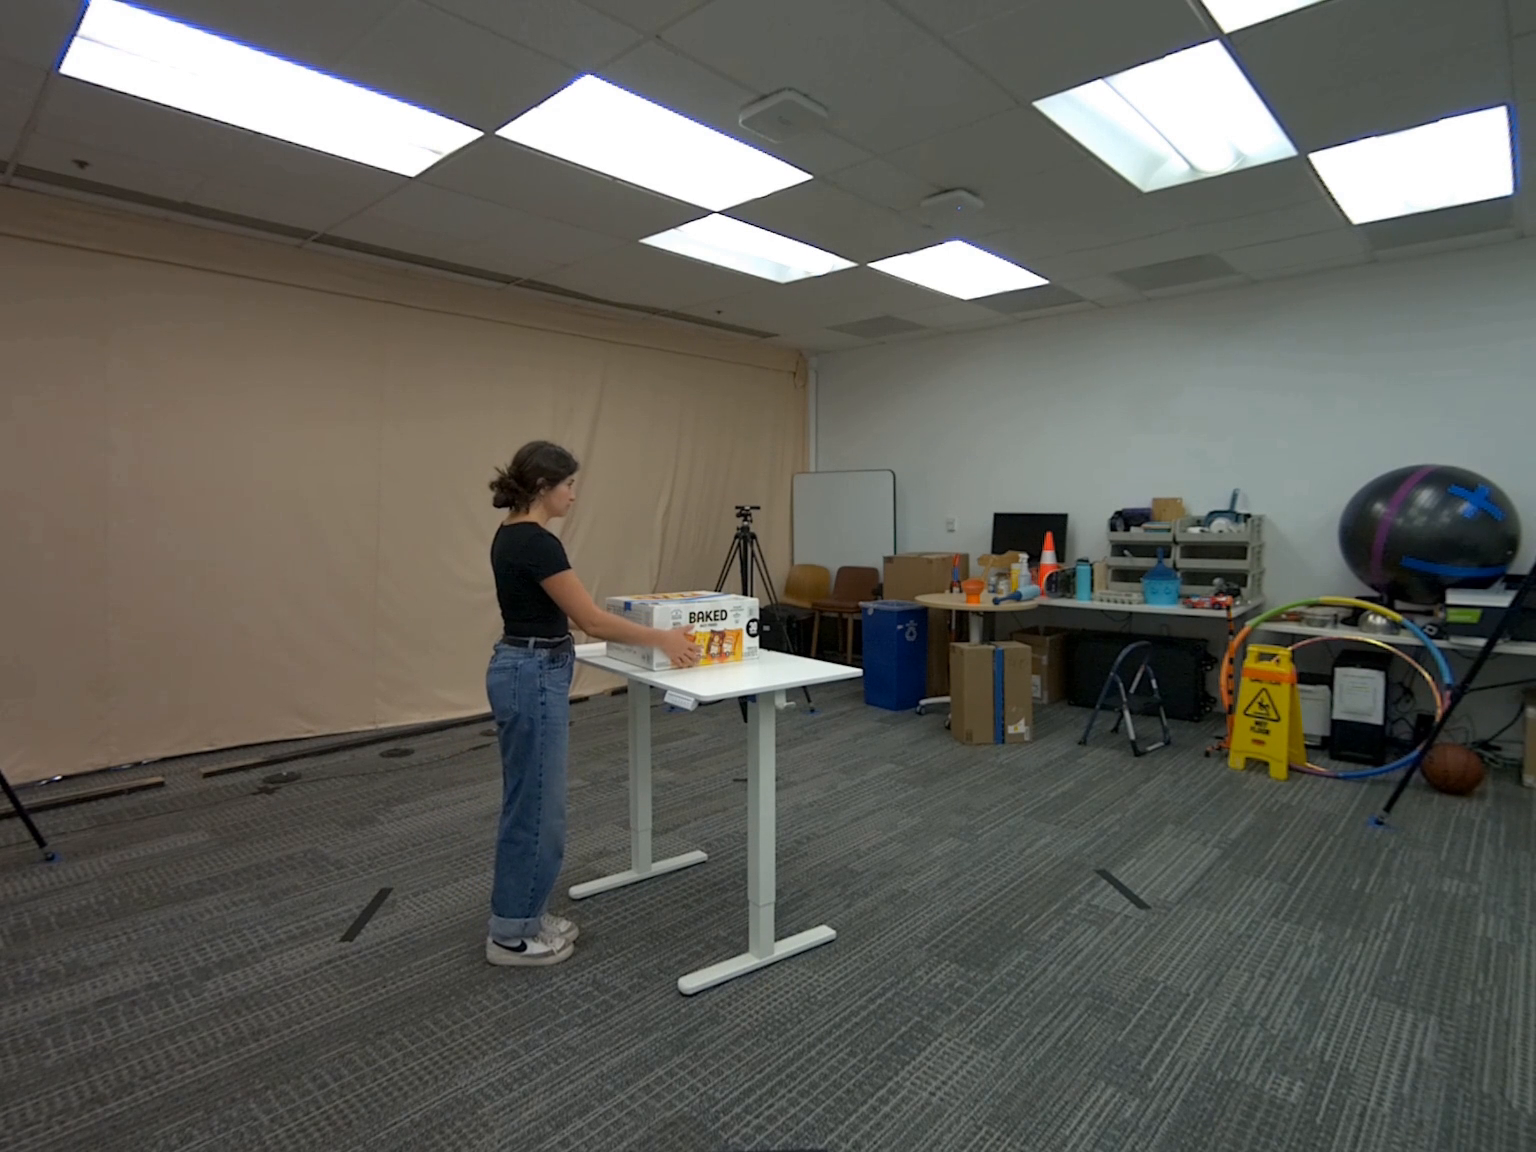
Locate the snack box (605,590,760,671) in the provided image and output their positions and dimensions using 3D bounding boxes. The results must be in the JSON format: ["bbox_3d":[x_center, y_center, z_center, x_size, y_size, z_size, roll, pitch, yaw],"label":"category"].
[{"bbox_3d":[-0.287,0.174,2.835,0.393,0.205,0.351,-3,4,-36],"label":"snack box"}]
